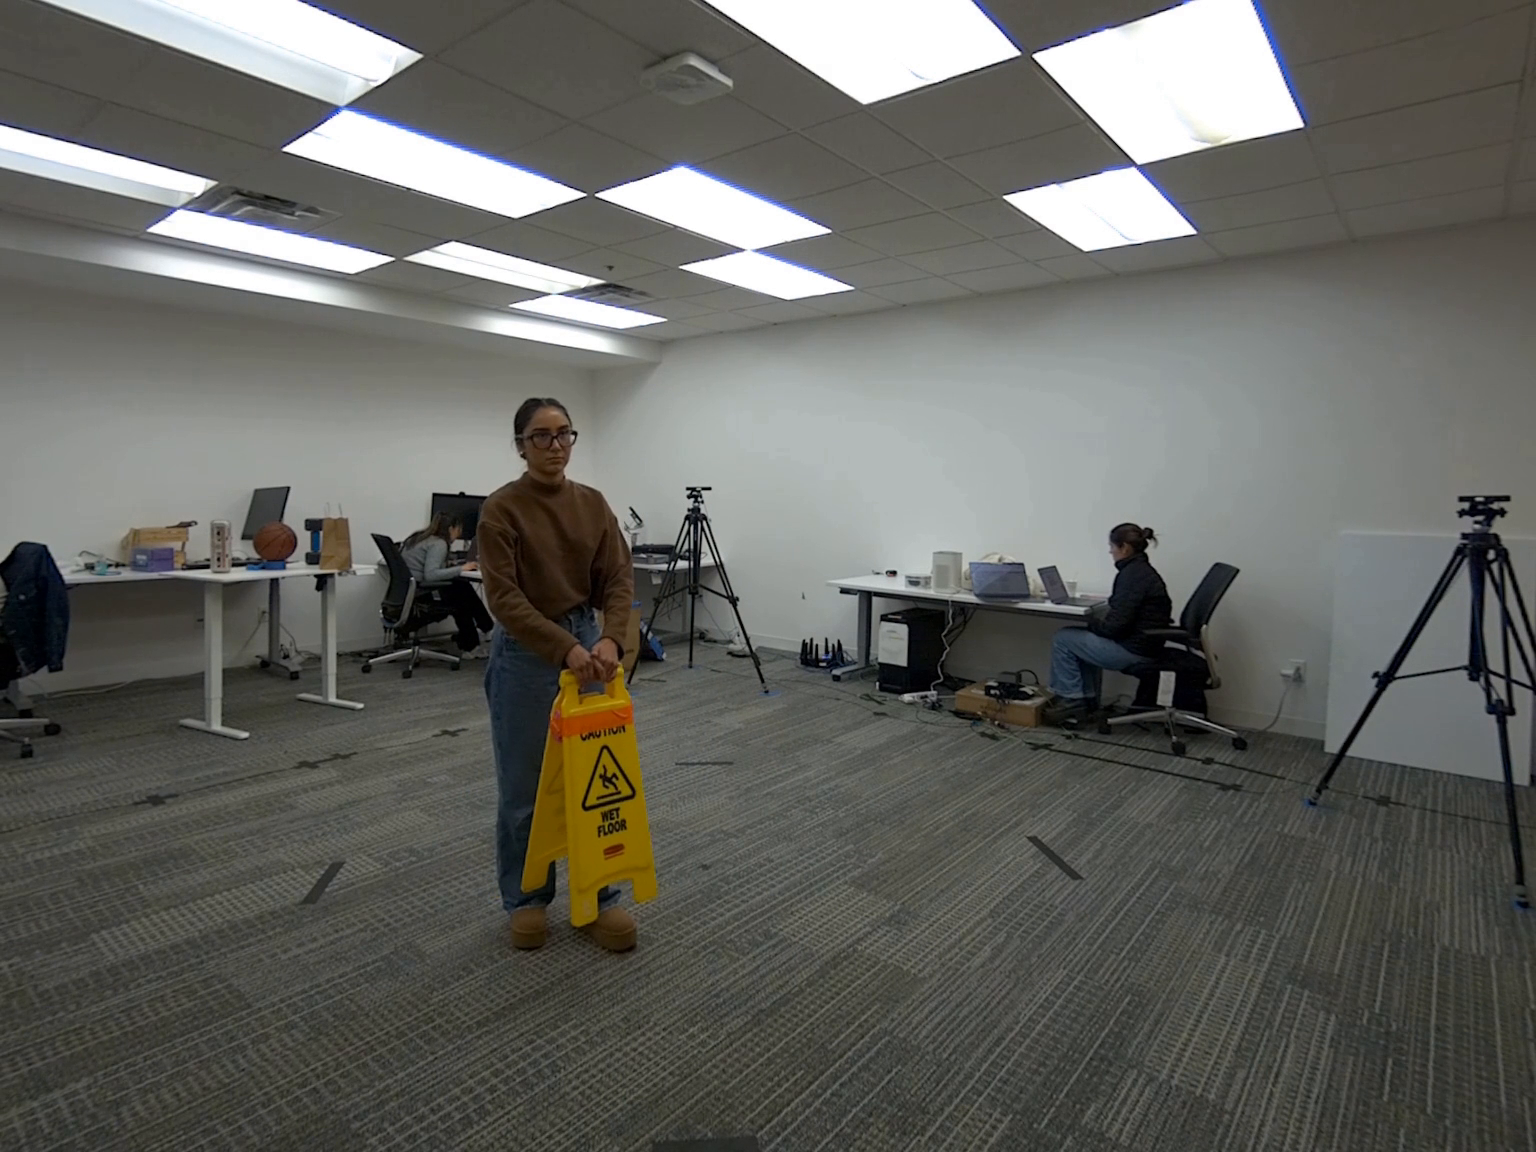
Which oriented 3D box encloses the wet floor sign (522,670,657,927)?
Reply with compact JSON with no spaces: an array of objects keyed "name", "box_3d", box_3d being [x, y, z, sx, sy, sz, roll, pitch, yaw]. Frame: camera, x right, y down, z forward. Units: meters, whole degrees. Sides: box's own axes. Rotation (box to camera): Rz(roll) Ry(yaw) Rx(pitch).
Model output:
[{"name":"wet floor sign","box_3d":[-0.504,0.569,2.379,0.273,0.645,0.299,0,3,-45]}]
